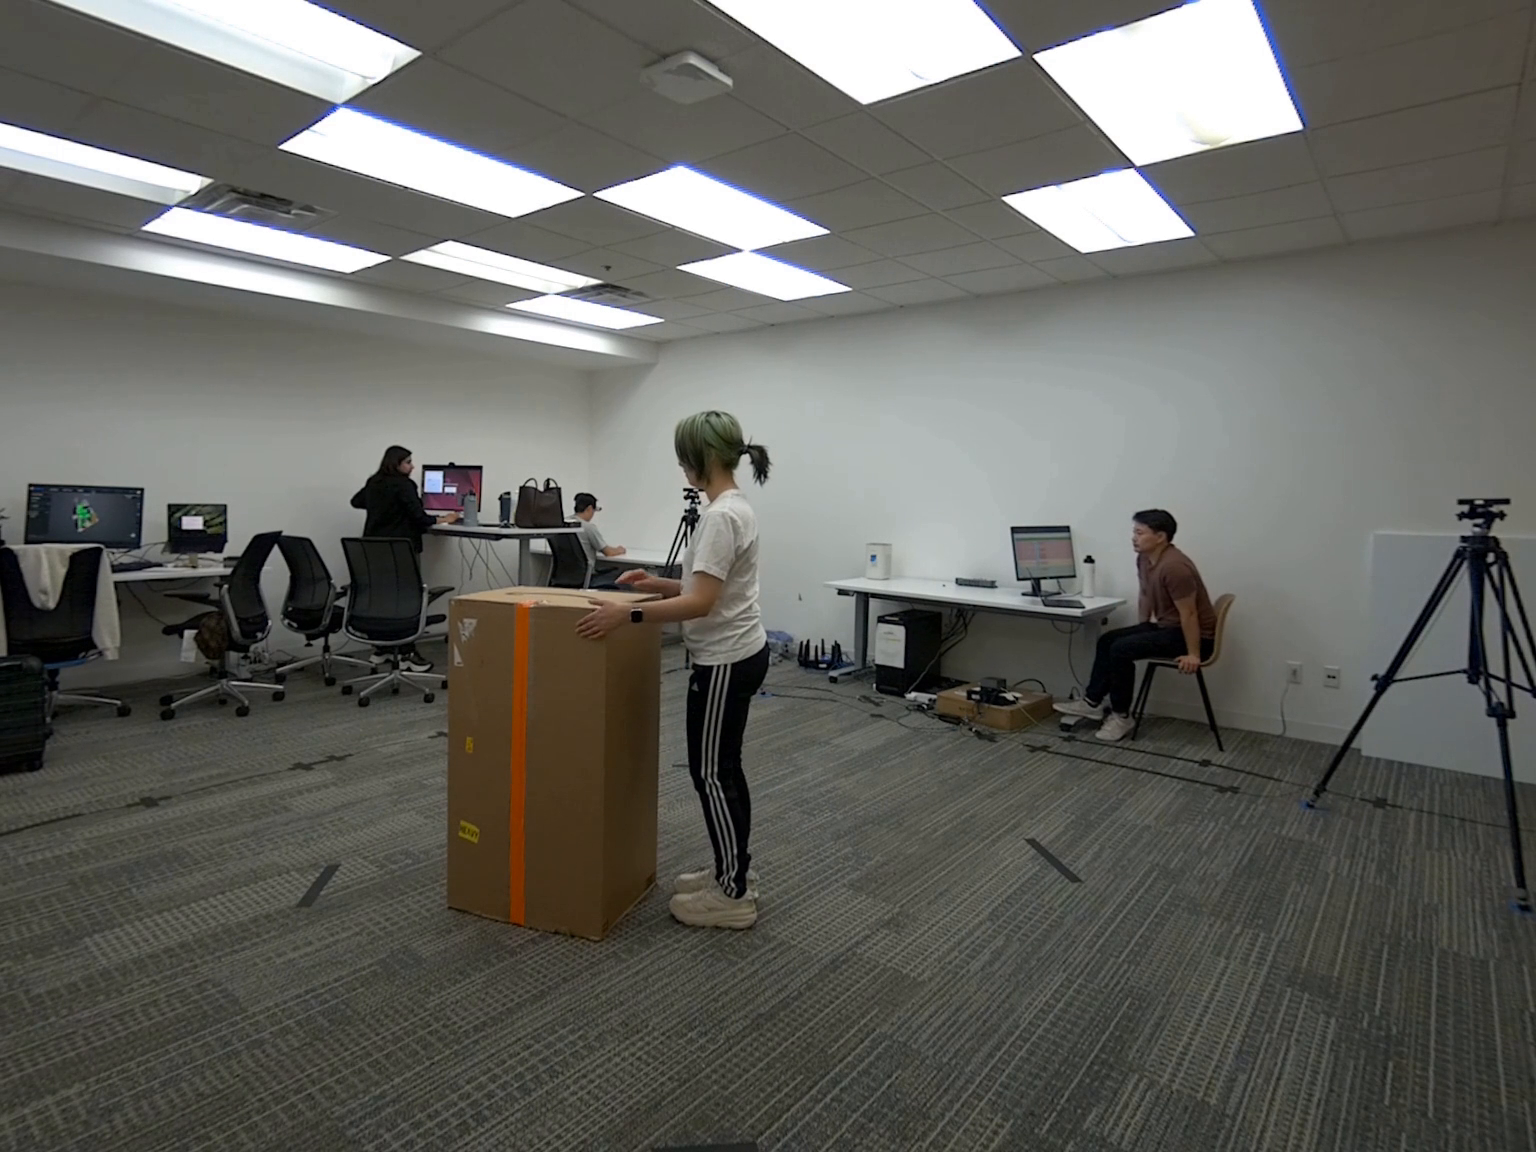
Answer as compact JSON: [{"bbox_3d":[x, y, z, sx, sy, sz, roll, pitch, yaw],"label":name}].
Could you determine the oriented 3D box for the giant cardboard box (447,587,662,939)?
[{"bbox_3d":[-0.720,0.577,2.863,0.590,1.023,0.418,2,3,20],"label":"giant cardboard box"}]
